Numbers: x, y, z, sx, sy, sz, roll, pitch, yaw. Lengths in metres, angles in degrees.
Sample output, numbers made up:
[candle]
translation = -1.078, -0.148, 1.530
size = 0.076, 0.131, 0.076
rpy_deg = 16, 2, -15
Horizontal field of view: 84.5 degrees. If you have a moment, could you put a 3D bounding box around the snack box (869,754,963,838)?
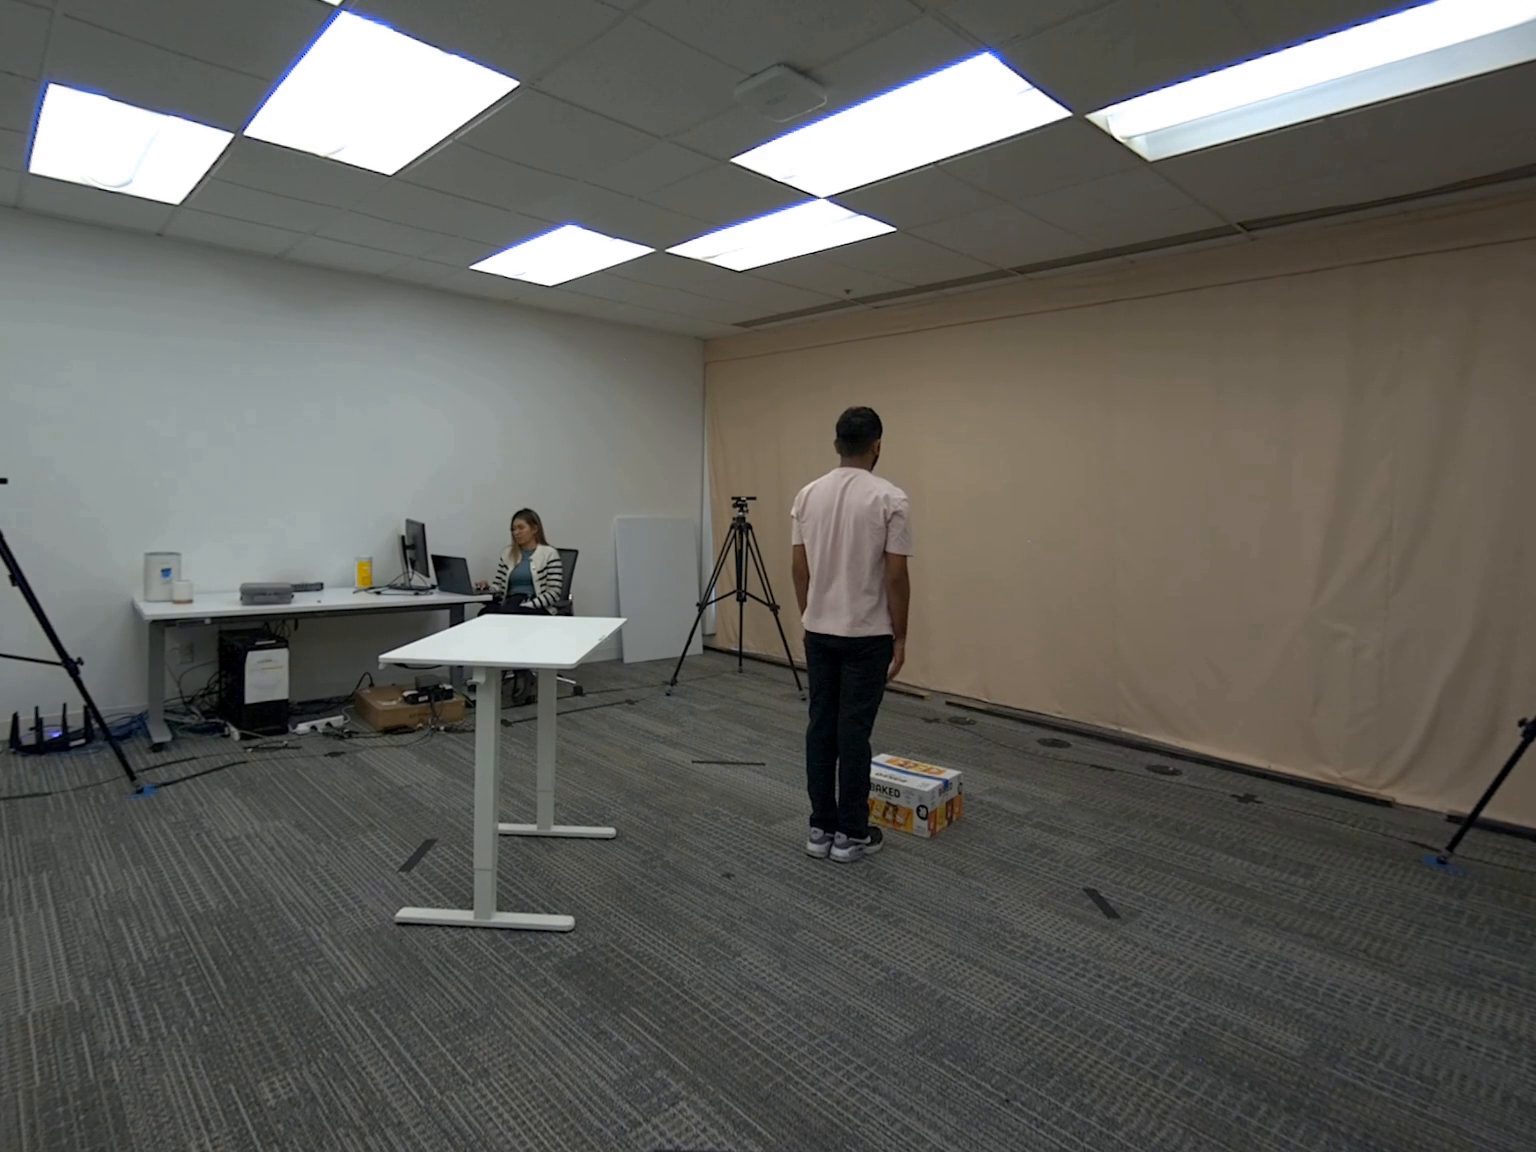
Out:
[snack box]
translation = 0.591, 0.968, 3.748
size = 0.415, 0.205, 0.333
rpy_deg = 5, 5, 38
